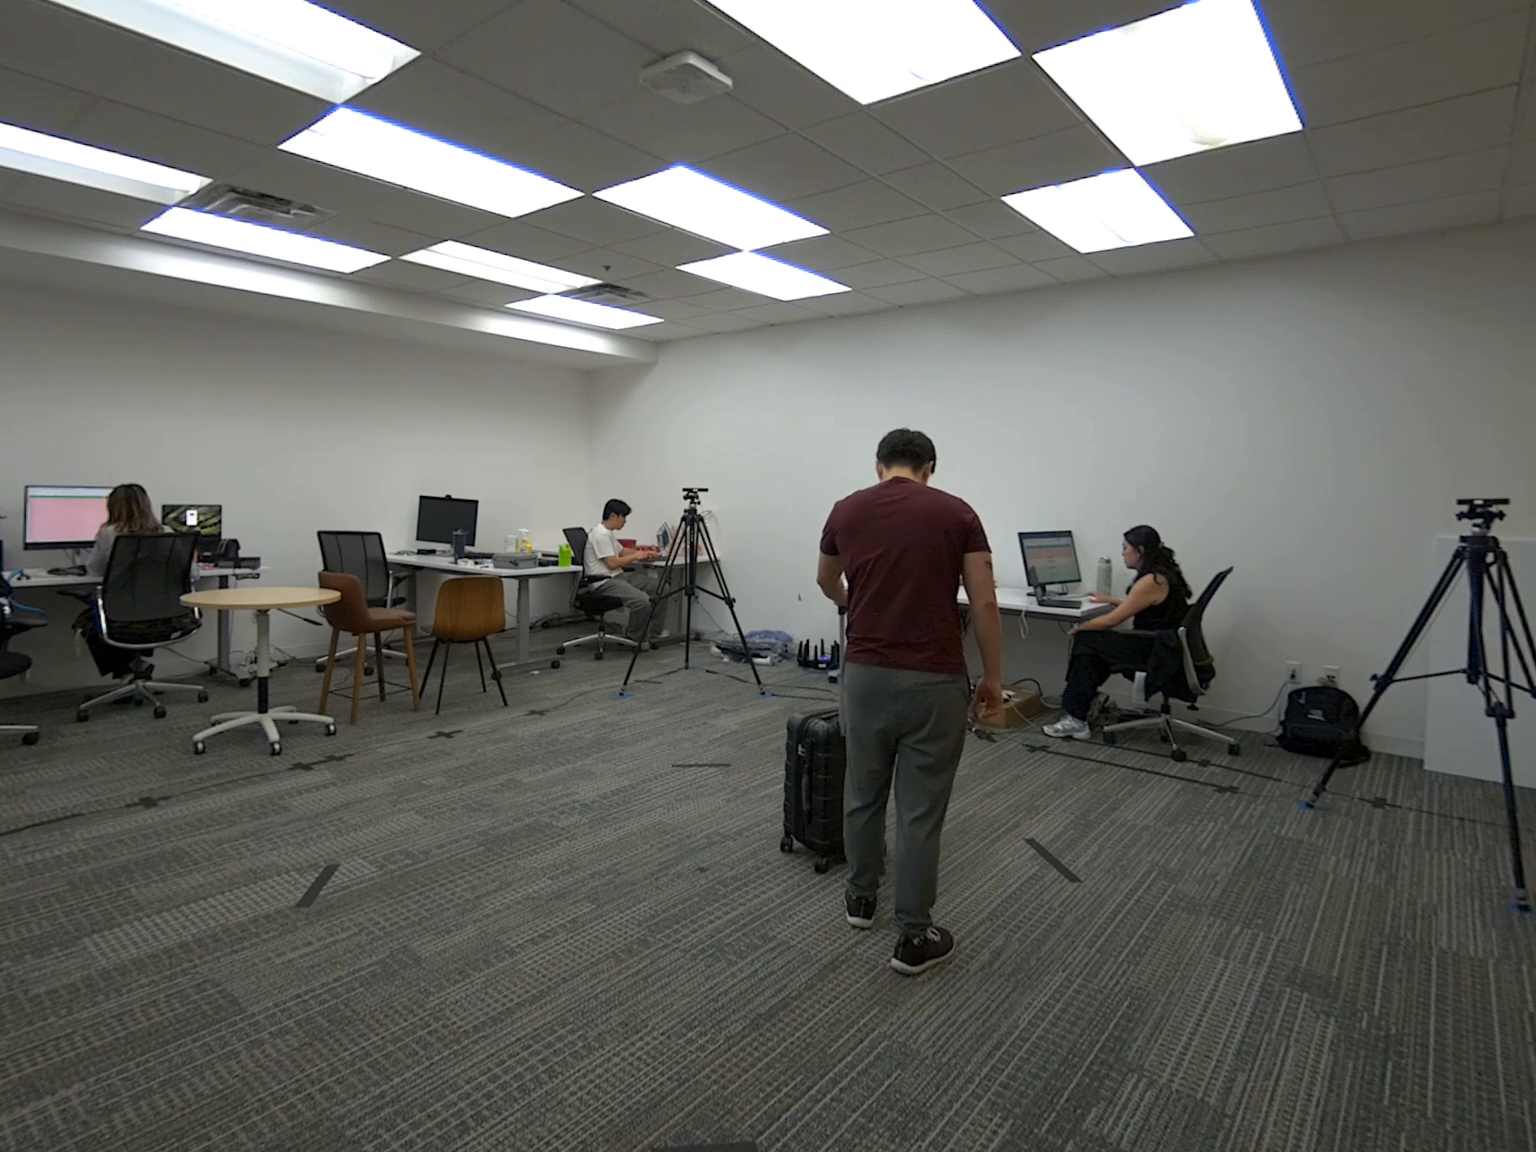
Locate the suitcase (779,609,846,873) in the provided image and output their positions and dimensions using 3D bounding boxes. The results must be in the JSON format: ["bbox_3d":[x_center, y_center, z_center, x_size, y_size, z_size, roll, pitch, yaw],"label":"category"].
[{"bbox_3d":[0.256,0.589,3.288,0.373,0.979,0.264,2,0,-32],"label":"suitcase"}]
